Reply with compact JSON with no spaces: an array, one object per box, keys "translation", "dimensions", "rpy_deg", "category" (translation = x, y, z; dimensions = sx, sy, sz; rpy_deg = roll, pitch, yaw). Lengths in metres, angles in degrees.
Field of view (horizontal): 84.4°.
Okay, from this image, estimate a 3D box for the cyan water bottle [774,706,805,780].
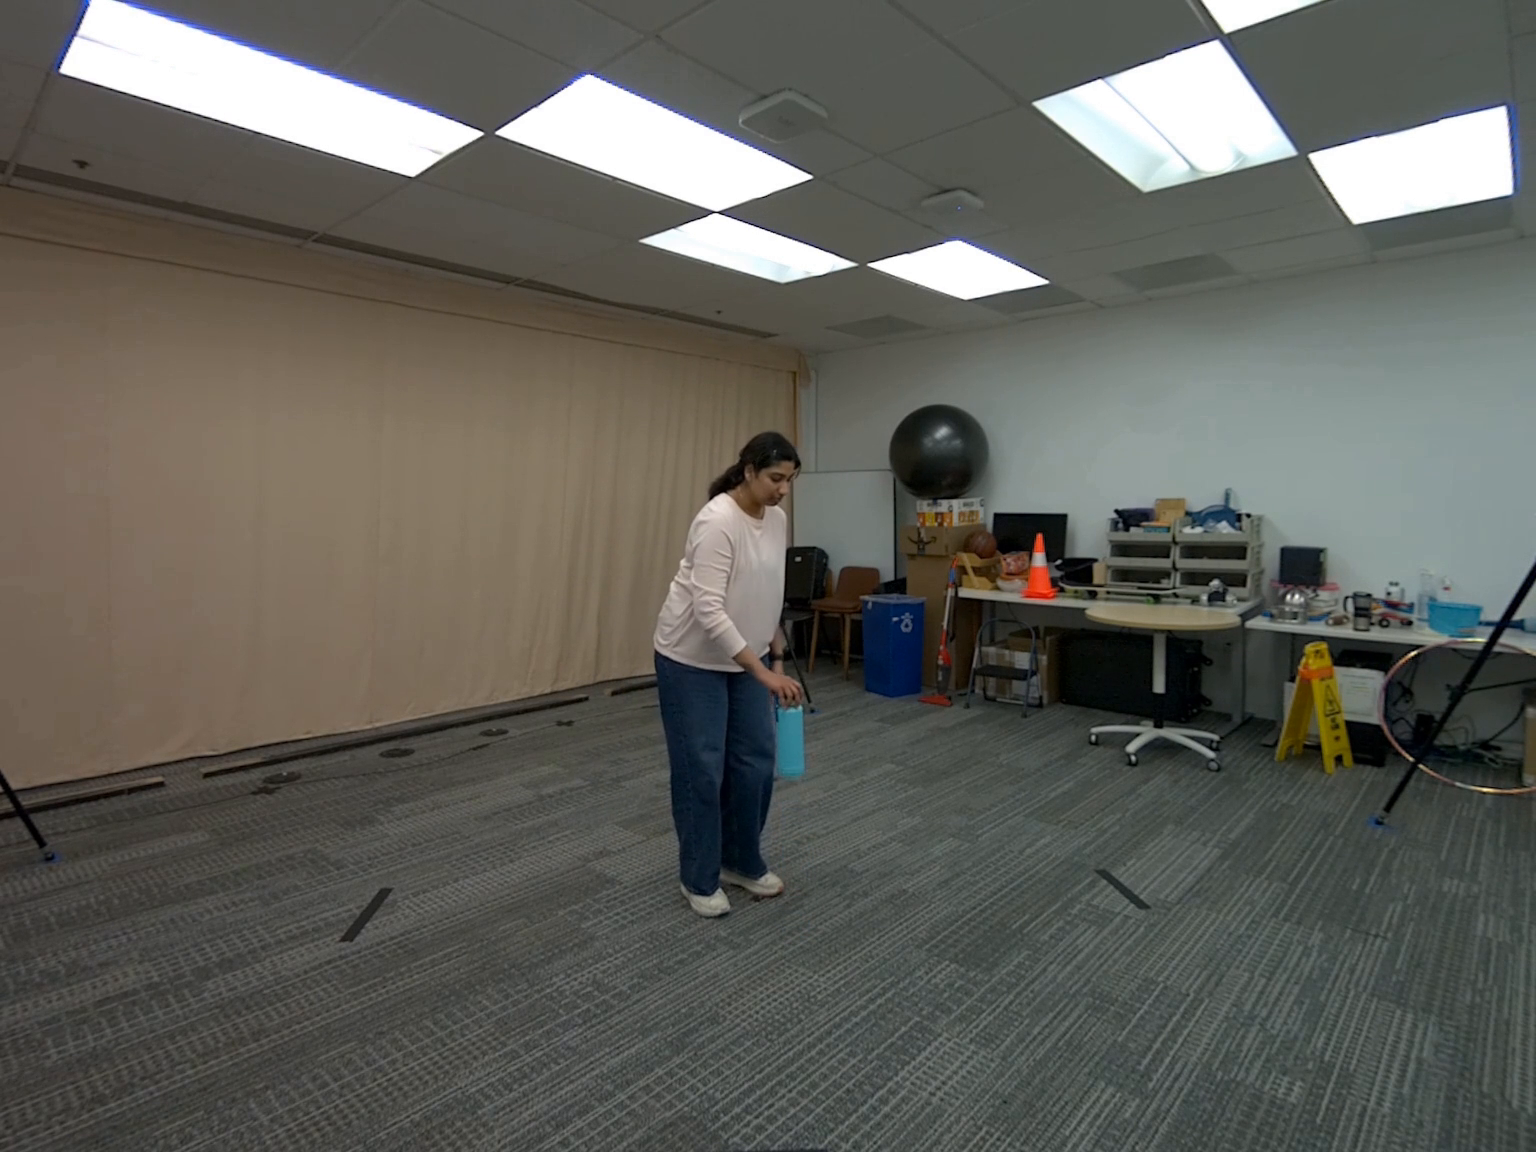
[{"translation":[0.072,0.509,2.751],"dimensions":[0.092,0.282,0.093],"rpy_deg":[-3,5,-2],"category":"cyan water bottle"}]
